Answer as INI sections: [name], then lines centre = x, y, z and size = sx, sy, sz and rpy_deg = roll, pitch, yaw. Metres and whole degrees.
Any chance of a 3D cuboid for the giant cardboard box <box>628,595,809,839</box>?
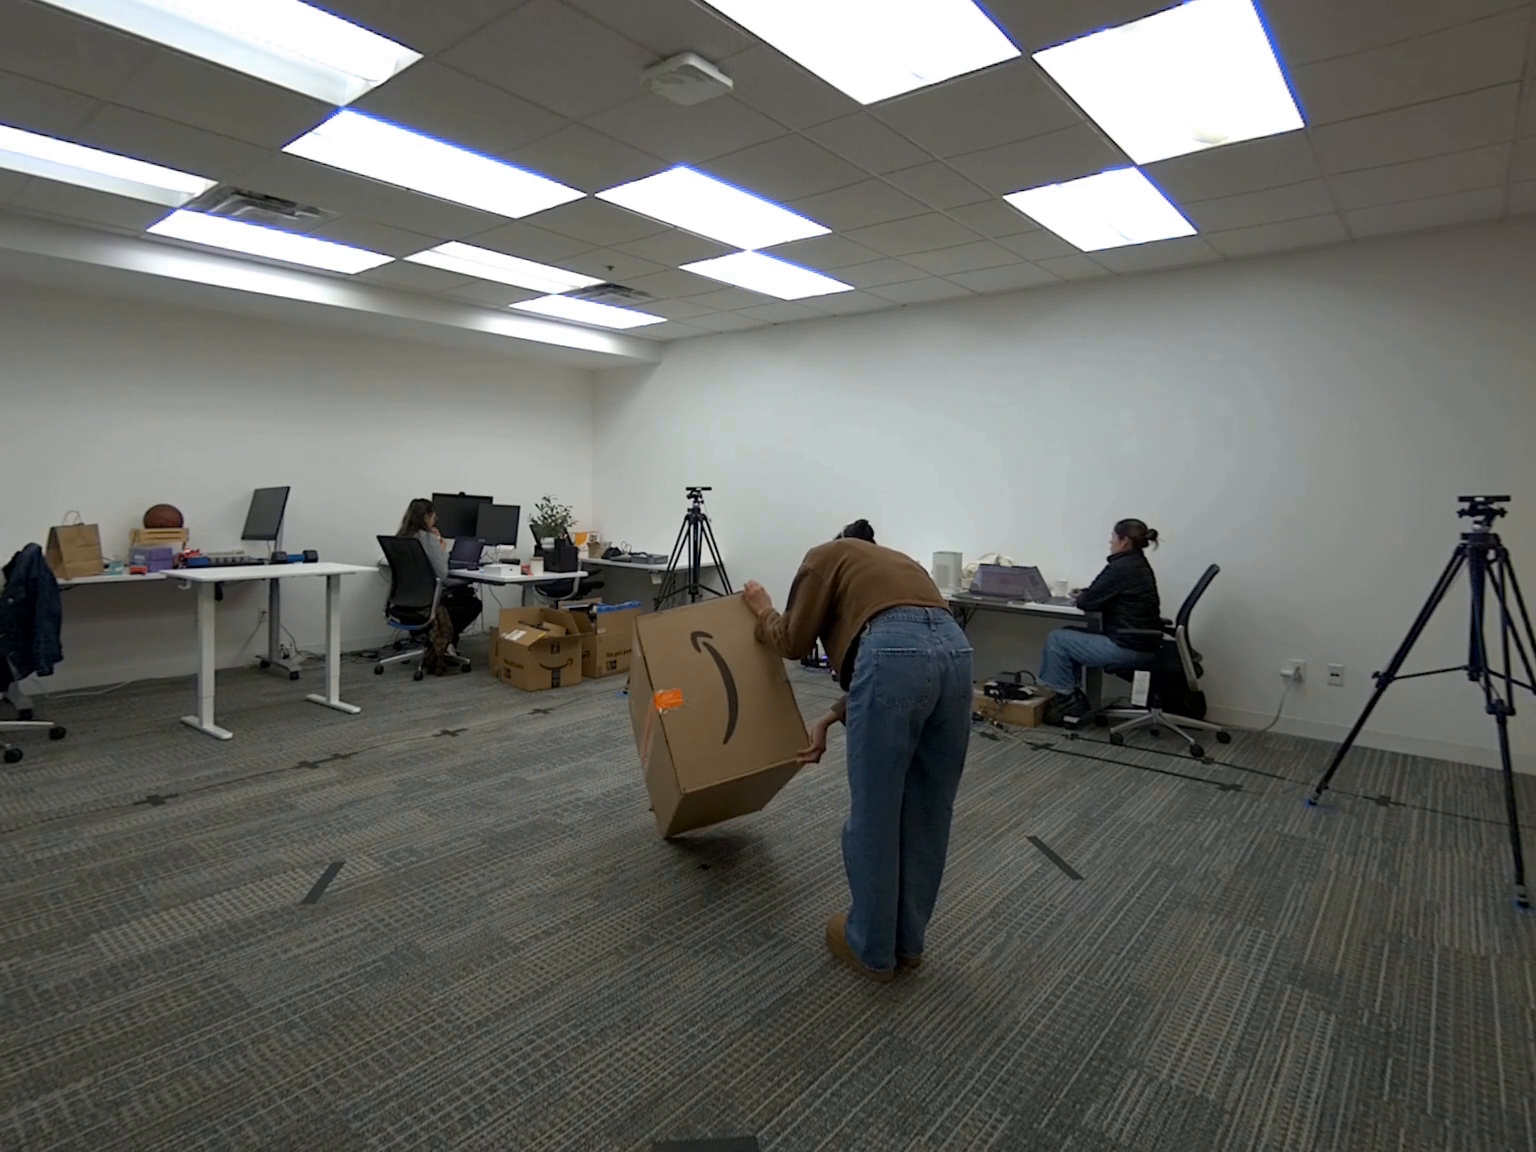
[giant cardboard box]
centre = -0.239, 0.544, 3.090
size = 0.441, 0.600, 1.012
rpy_deg = -13, -22, -16
